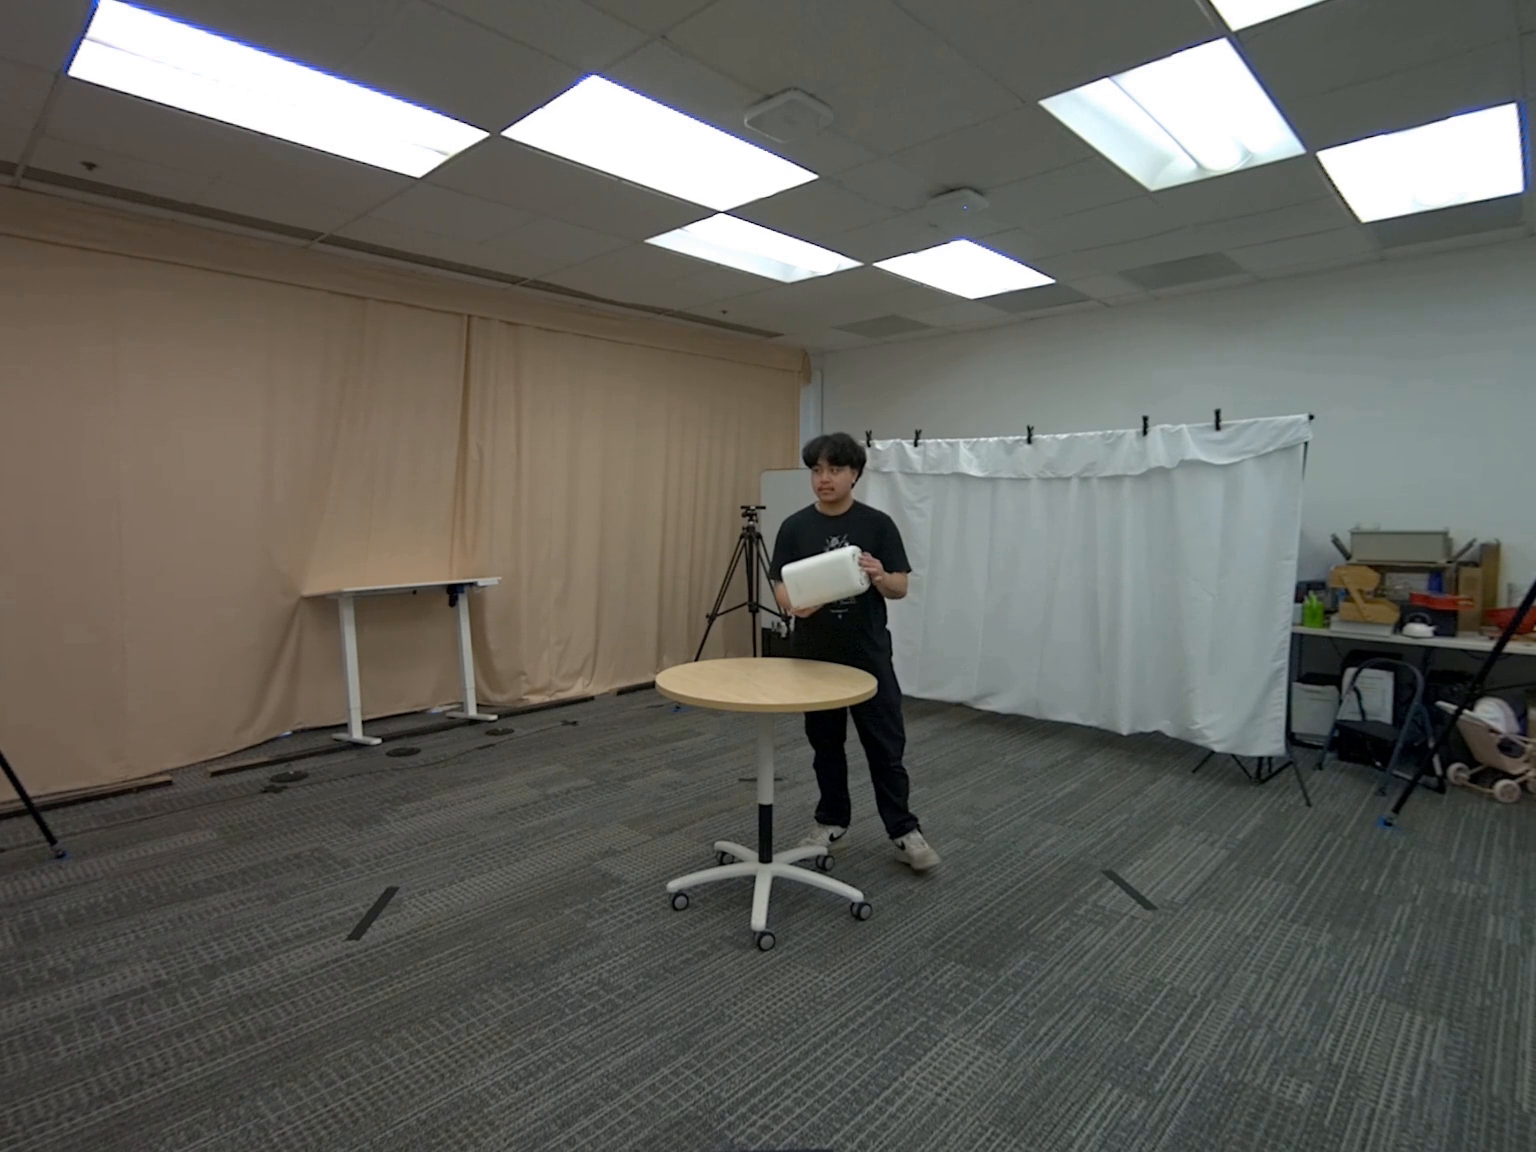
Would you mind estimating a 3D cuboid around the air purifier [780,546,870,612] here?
[{"bbox_3d":[0.214,0.007,2.996,0.270,0.171,0.168,-16,-1,23],"label":"air purifier"}]
